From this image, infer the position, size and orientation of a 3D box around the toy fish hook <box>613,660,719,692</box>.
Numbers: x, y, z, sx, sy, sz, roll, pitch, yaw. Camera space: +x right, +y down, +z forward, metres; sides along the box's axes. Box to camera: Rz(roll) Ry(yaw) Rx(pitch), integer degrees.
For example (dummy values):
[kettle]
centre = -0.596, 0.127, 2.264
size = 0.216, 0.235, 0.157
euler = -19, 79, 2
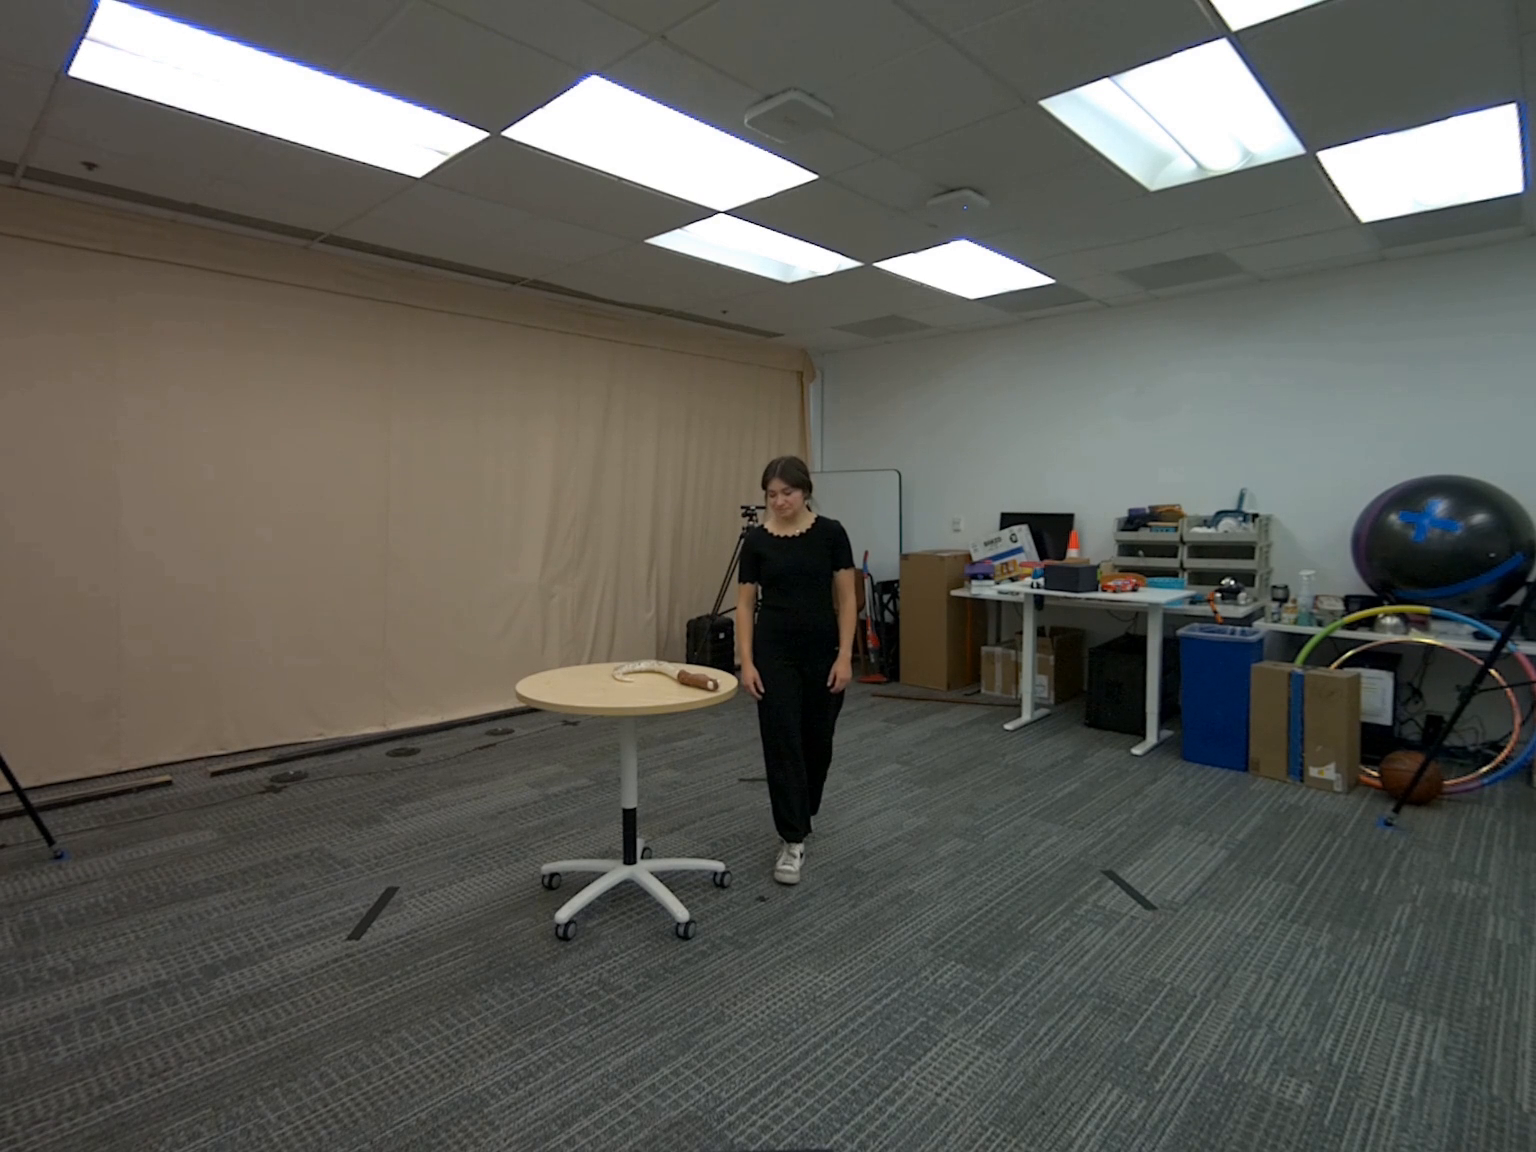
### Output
[toy fish hook]
centre = -0.364, 0.364, 2.918
size = 0.219, 0.048, 0.523
euler = -15, 12, -37
